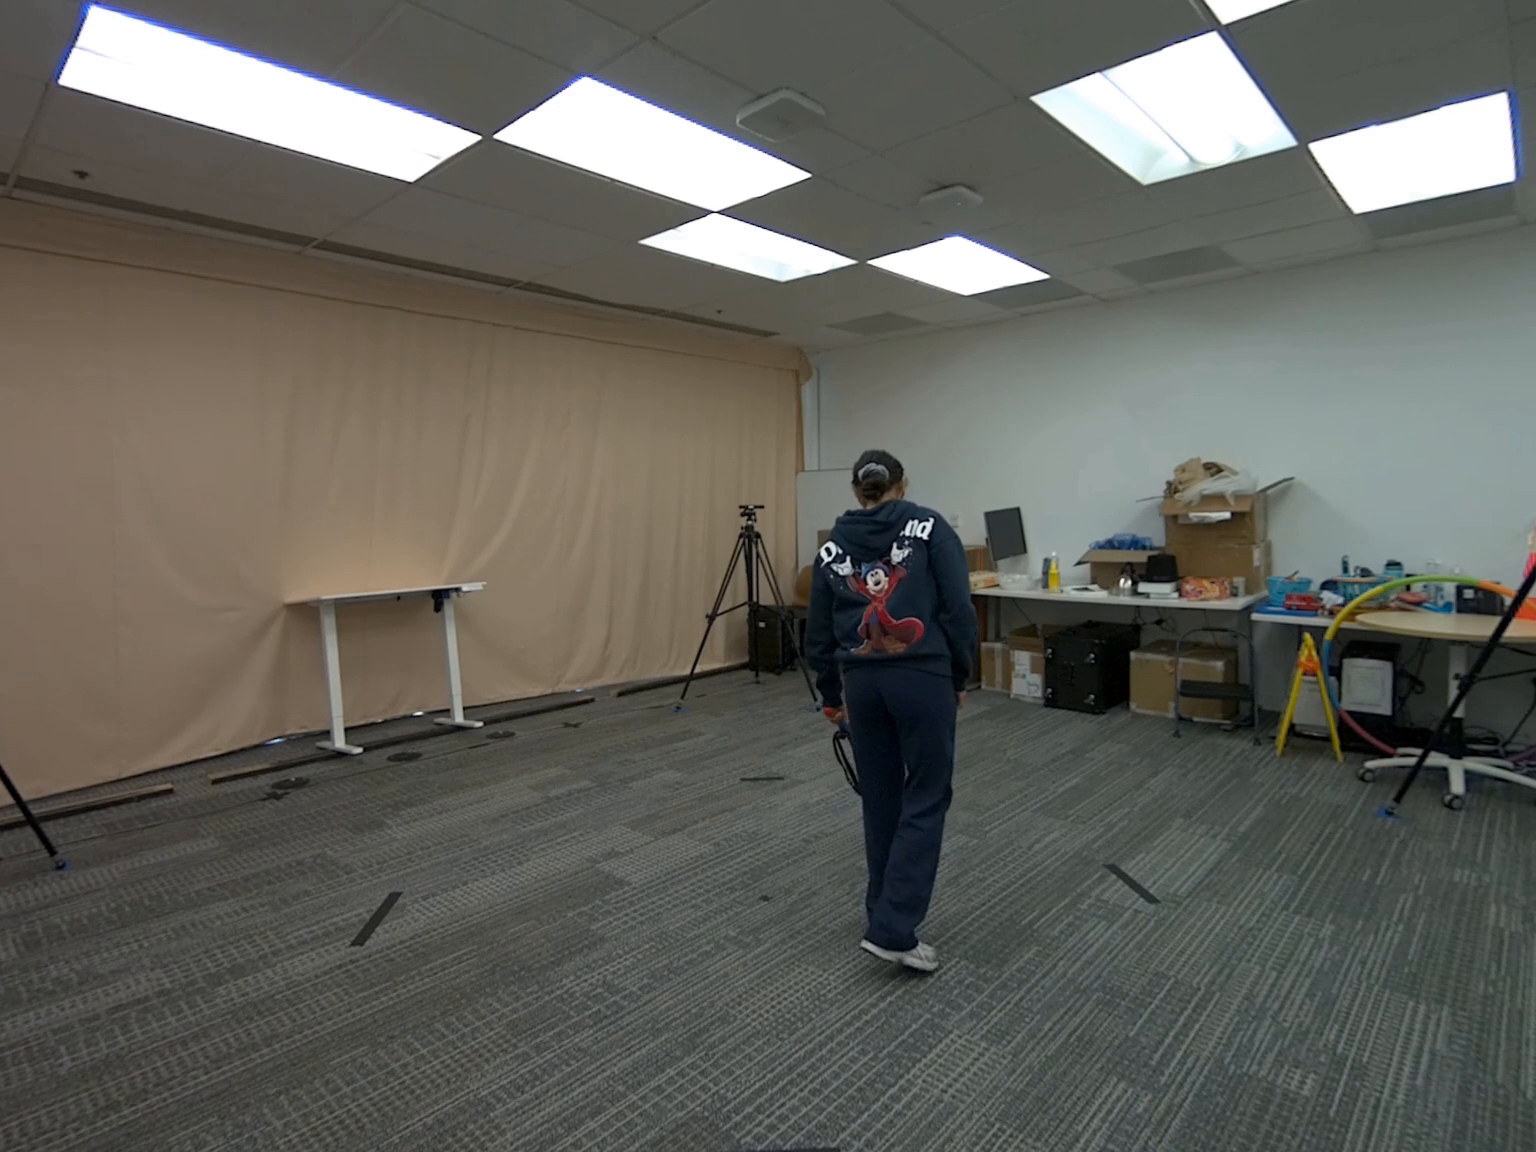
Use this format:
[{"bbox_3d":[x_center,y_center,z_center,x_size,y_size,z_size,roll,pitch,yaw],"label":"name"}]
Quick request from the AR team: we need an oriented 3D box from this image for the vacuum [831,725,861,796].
[{"bbox_3d":[0.370,0.766,3.193,0.258,0.145,1.016,-4,-39,20],"label":"vacuum"}]
